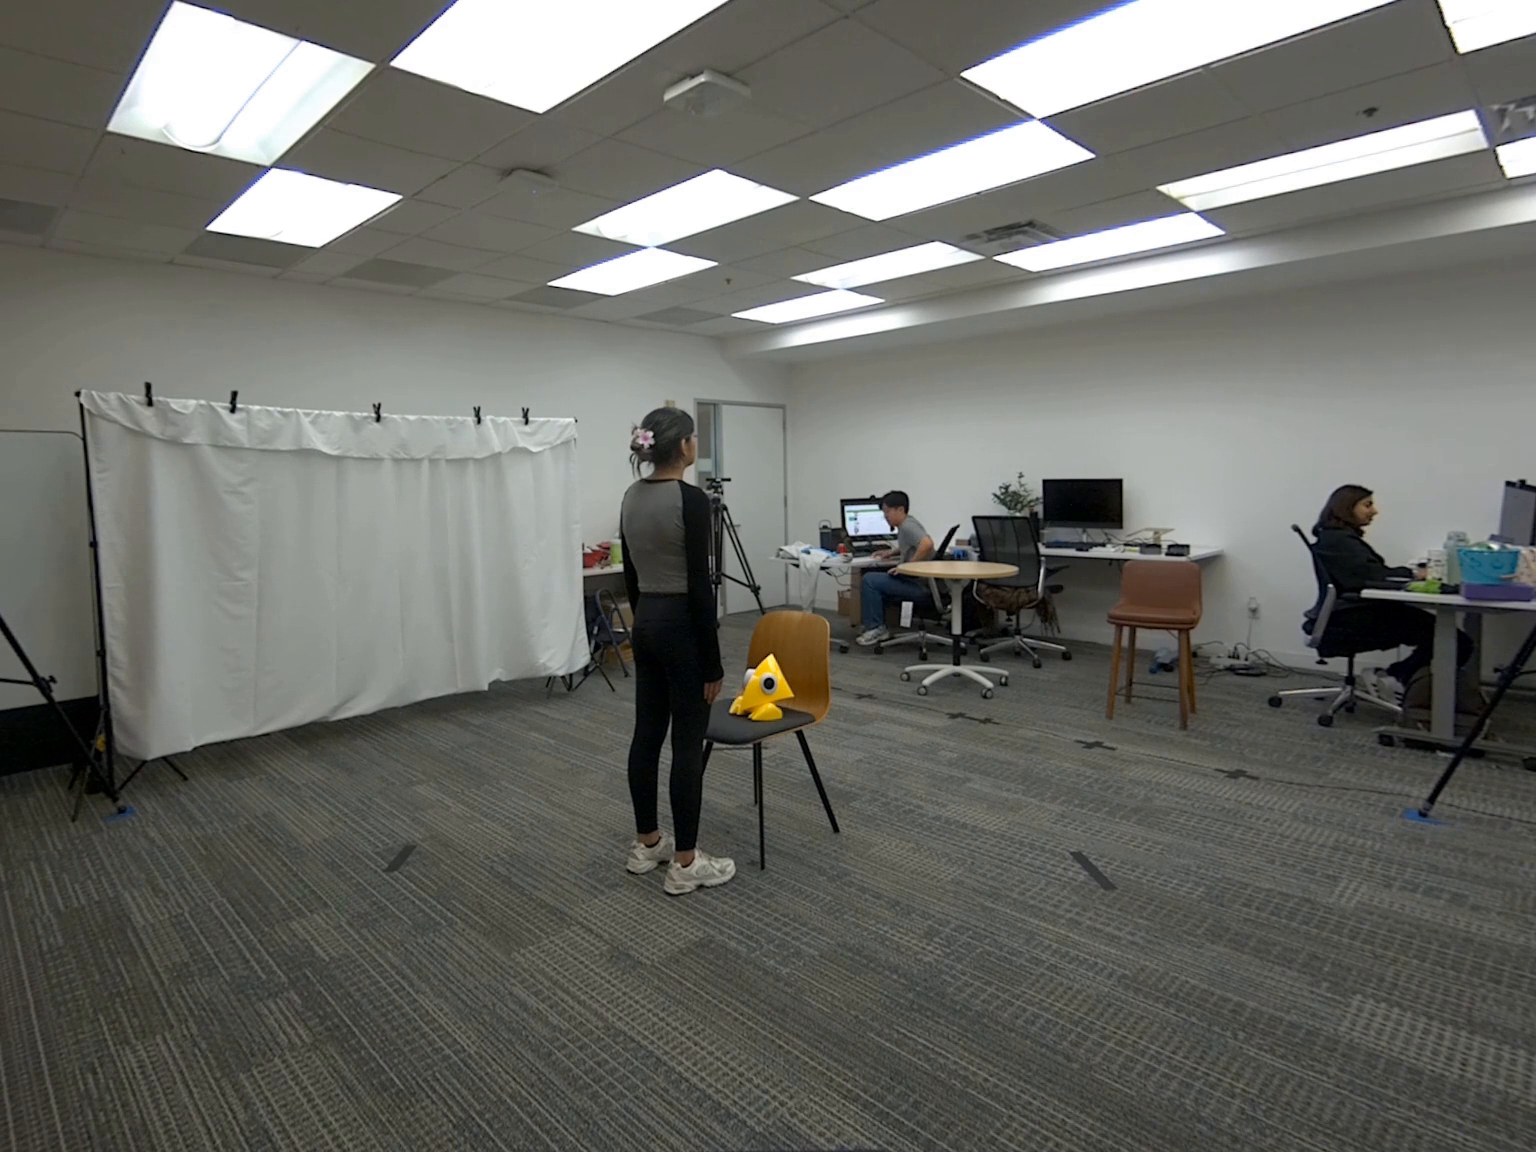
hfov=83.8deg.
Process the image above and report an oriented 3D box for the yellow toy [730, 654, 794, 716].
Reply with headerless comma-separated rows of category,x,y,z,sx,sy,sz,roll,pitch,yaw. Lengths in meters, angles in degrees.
yellow toy,-0.038,0.430,3.336,0.187,0.230,0.211,2,3,-43
